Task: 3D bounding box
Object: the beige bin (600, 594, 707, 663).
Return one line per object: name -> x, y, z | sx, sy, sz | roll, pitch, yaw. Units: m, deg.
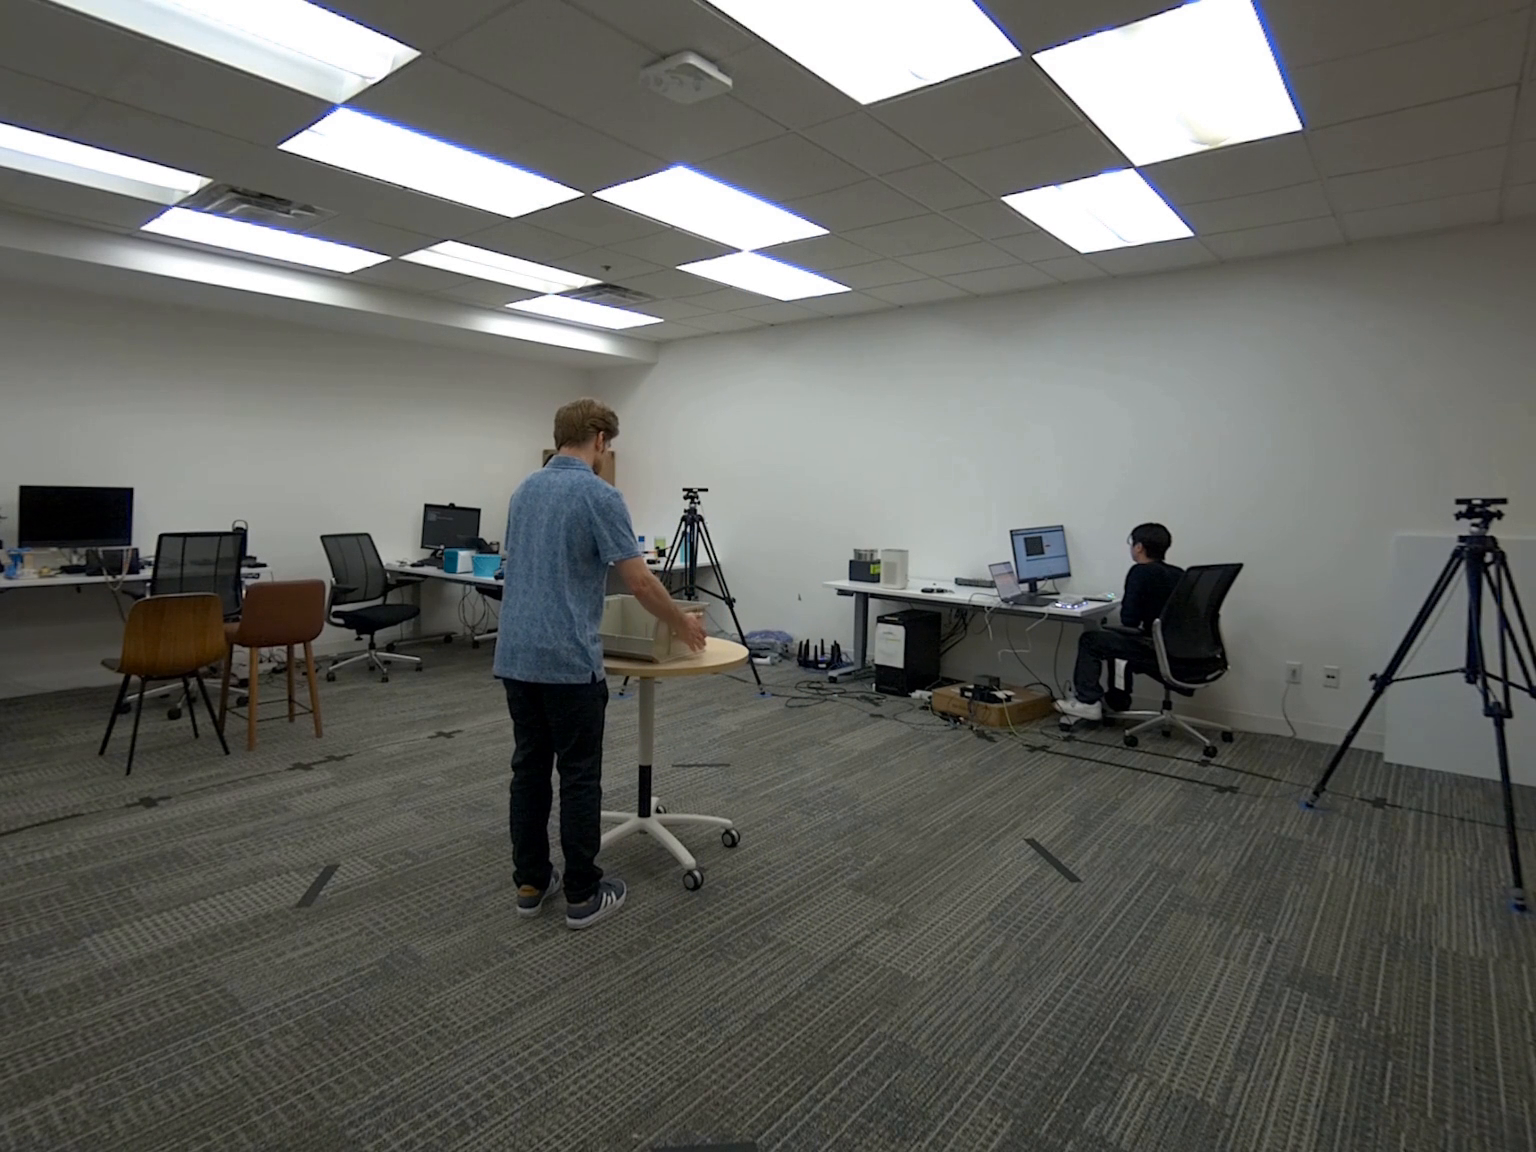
beige bin -> -0.503, 0.187, 3.142 | 0.434, 0.188, 0.368 | 3, 4, 27
